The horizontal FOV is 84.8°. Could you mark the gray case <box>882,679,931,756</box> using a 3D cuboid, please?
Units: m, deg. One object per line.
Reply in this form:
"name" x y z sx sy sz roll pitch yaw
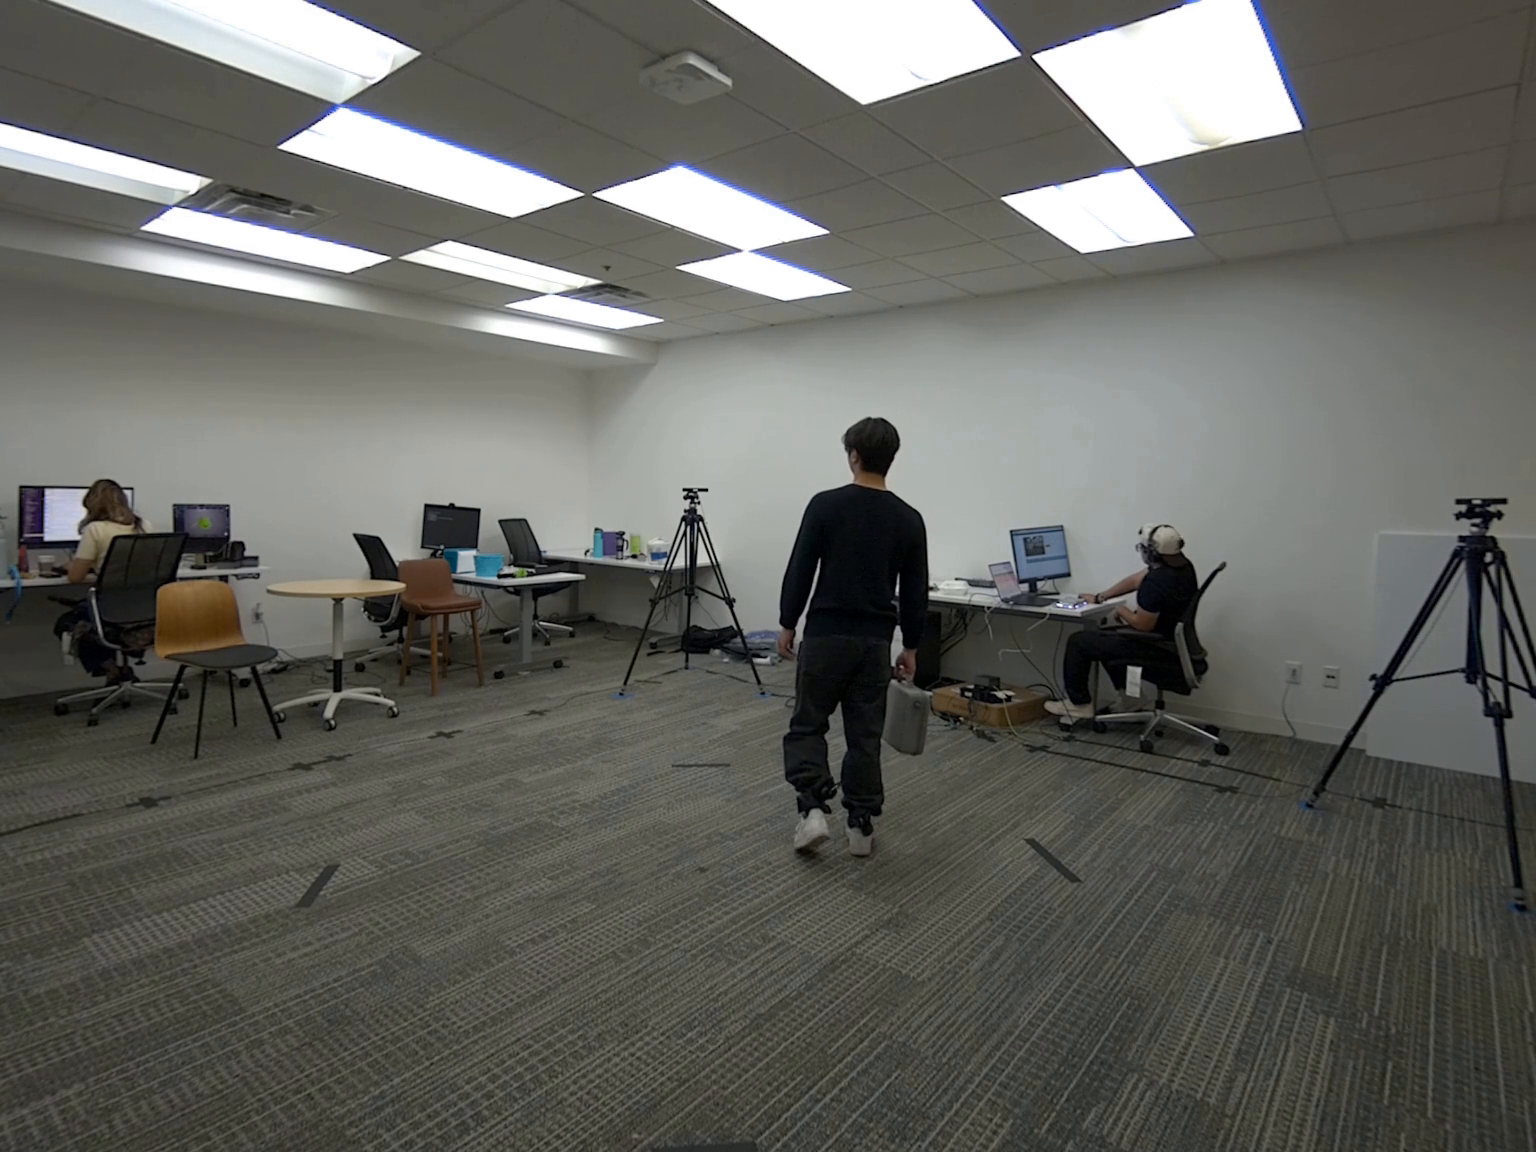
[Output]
"gray case" 0.532 0.560 3.414 0.102 0.260 0.261 7 2 -16
